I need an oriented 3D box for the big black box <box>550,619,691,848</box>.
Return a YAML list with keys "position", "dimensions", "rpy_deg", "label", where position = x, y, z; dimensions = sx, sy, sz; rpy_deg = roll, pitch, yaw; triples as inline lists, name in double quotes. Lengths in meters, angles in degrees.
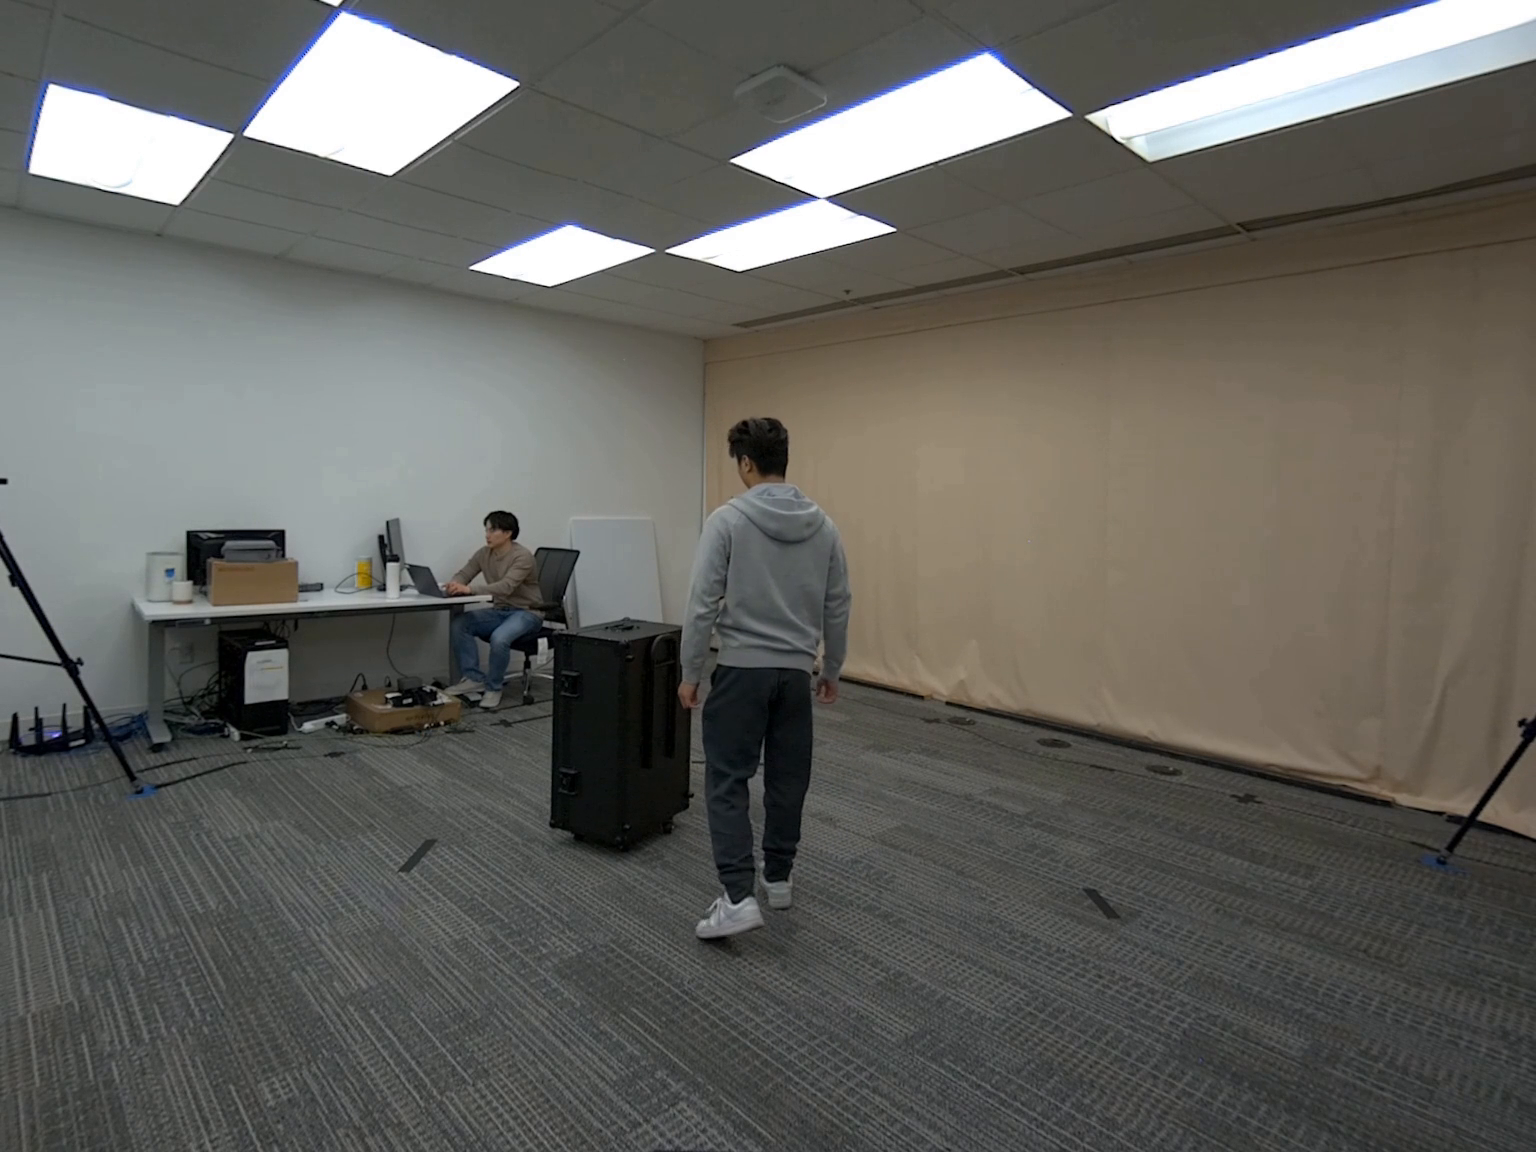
- position: [-0.588, 0.642, 3.450]
  dimensions: [0.405, 0.859, 0.511]
  rpy_deg: [5, 5, 28]
  label: "big black box"
